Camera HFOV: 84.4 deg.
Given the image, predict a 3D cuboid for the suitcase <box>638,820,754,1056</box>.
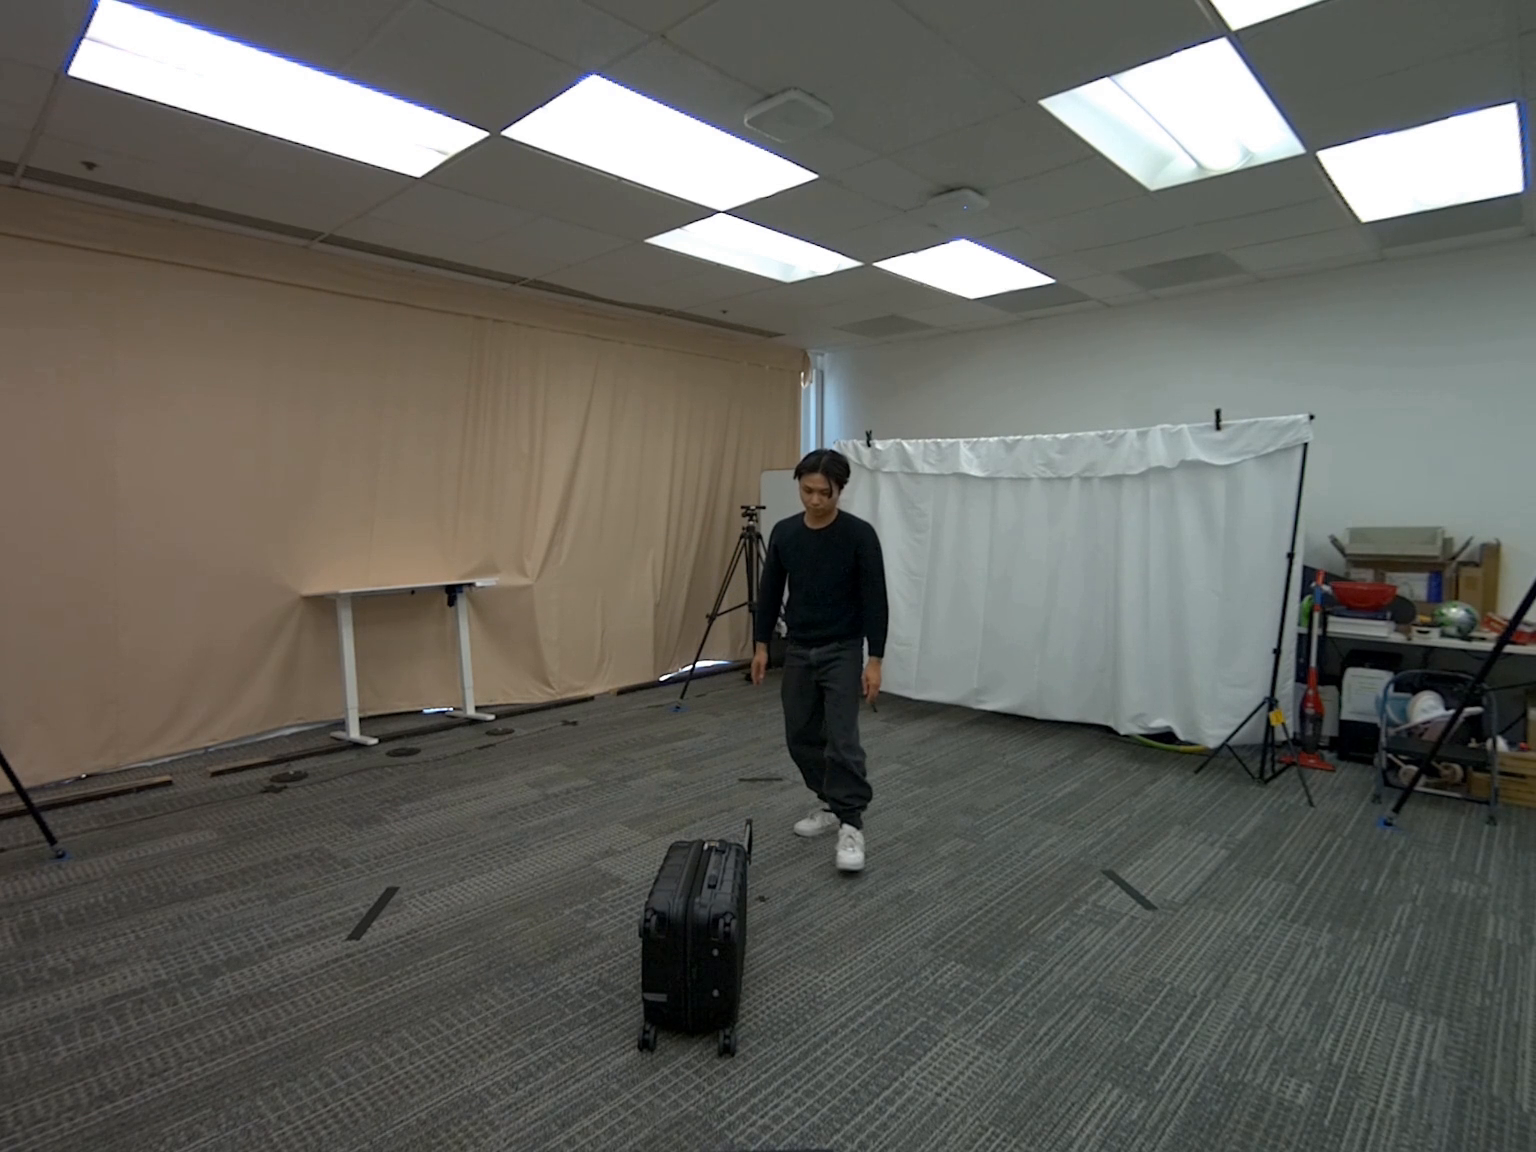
[{"bbox_3d":[-0.194,0.992,2.600,0.258,0.383,0.978,2,4,1],"label":"suitcase"}]
